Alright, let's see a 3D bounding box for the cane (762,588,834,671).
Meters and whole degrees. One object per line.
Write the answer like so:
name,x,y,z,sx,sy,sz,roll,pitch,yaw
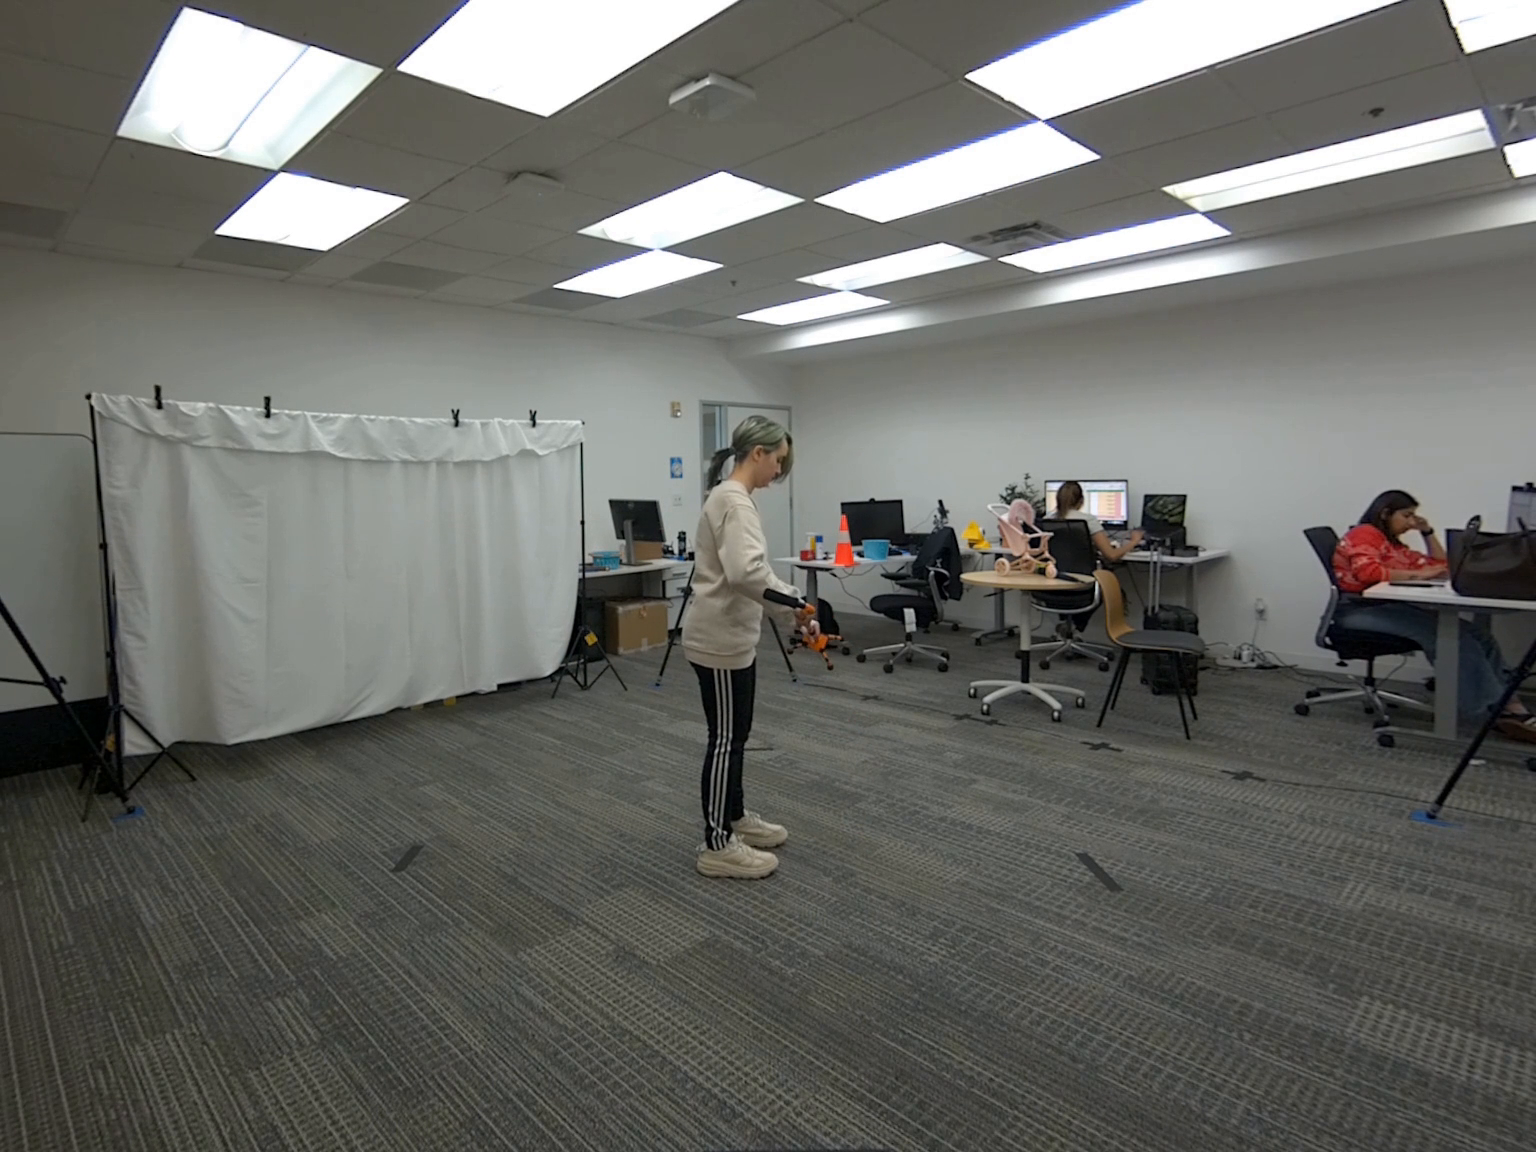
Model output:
cane,0.150,0.192,3.069,0.209,0.152,0.889,18,-10,10
